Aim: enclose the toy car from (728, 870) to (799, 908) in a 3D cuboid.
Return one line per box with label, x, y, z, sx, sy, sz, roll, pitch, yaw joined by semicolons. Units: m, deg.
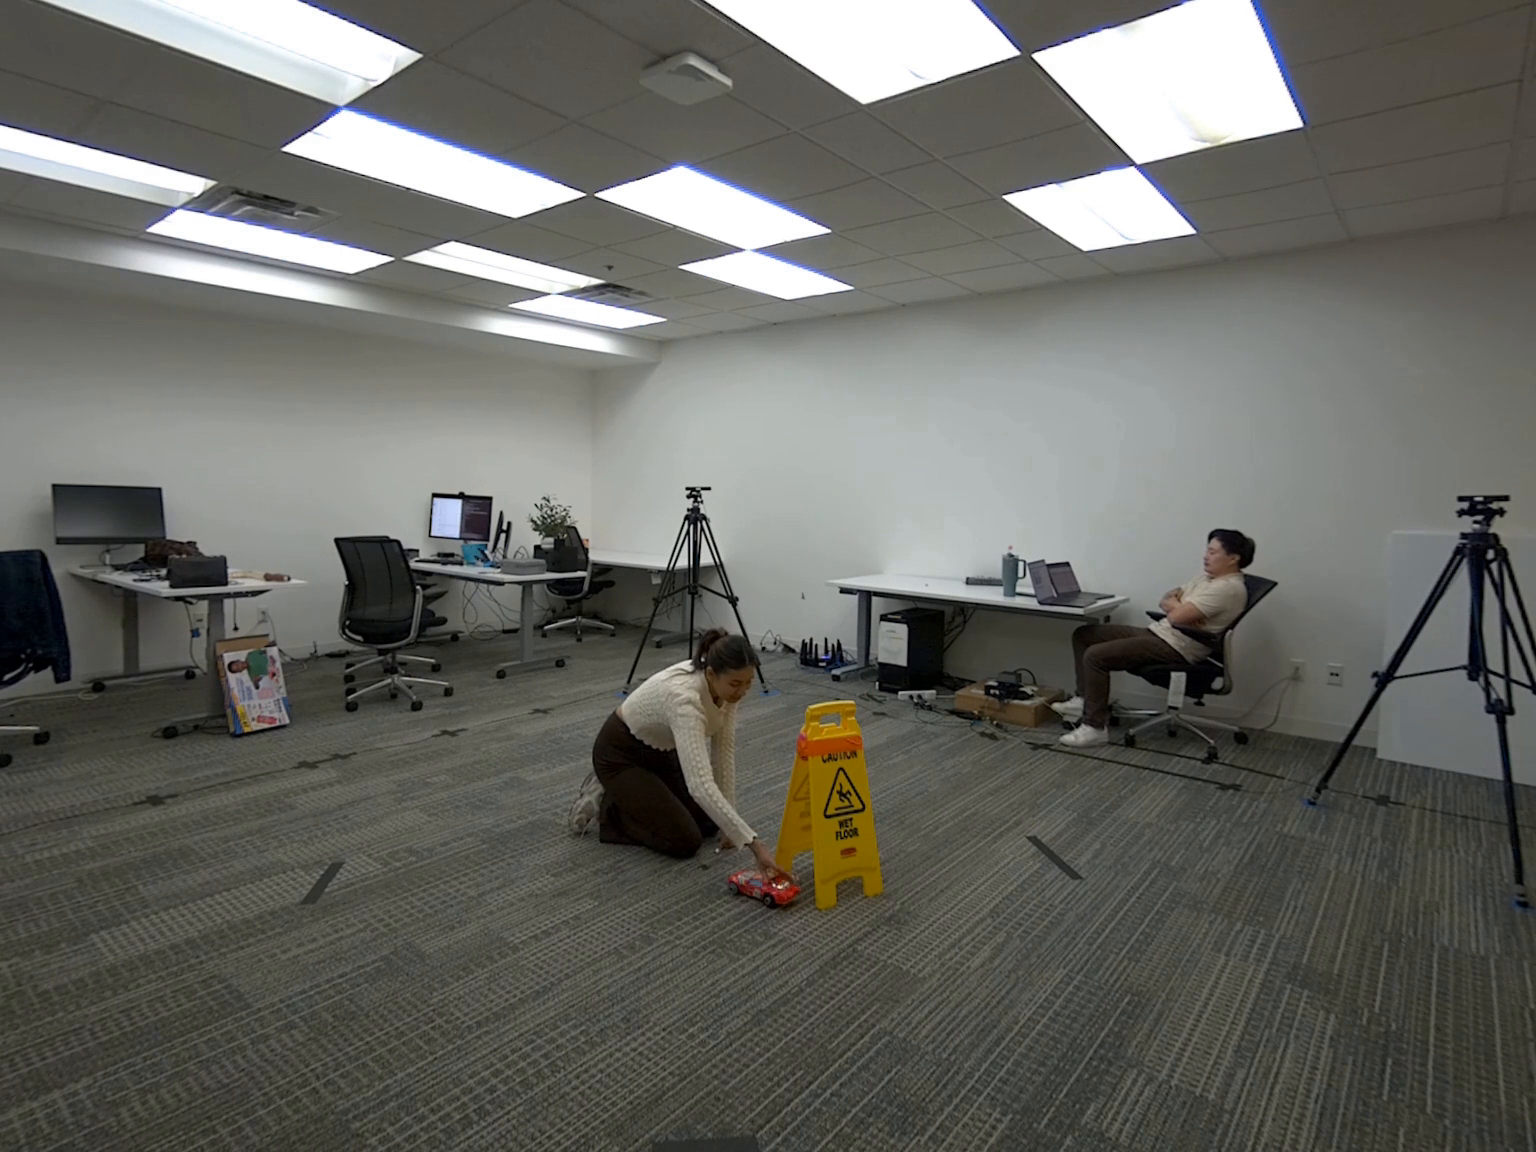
toy car;-0.017;1.062;2.883;0.261;0.083;0.126;-8;-3;36
